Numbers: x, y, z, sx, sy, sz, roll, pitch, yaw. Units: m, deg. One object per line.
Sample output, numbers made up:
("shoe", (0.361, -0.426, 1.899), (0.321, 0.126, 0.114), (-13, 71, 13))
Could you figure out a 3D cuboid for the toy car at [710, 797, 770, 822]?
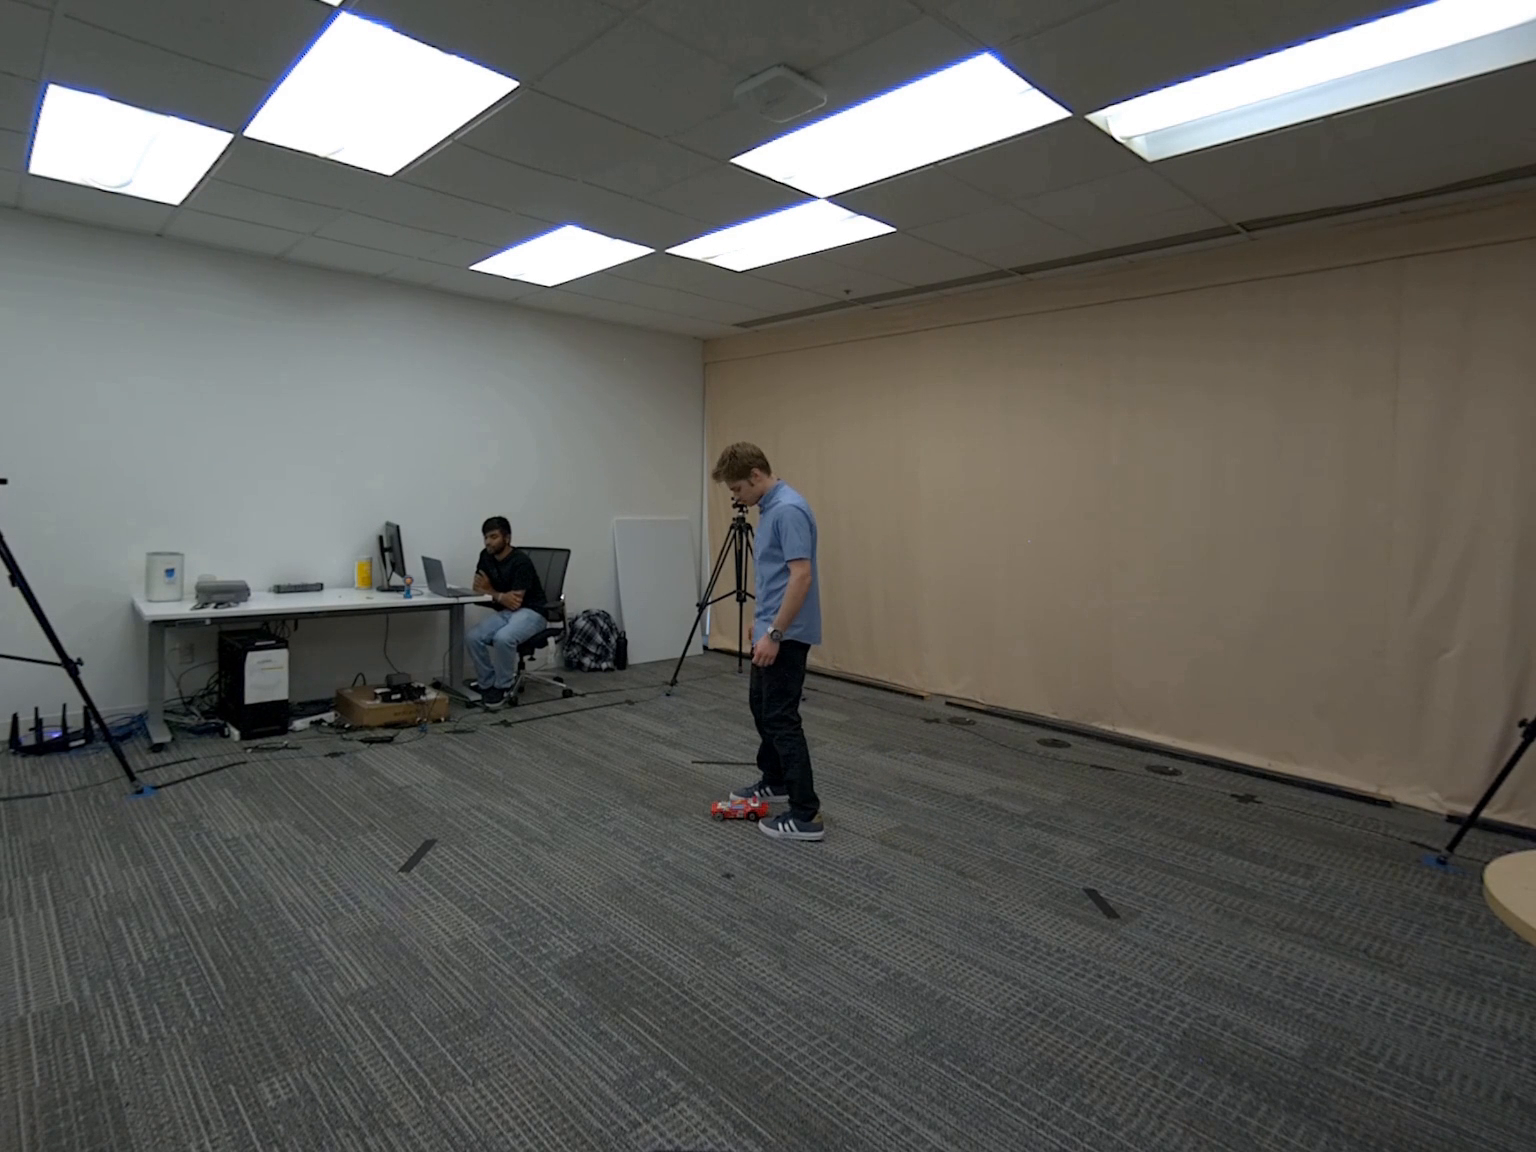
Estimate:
("toy car", (-0.131, 1.022, 3.690), (0.254, 0.083, 0.131), (-9, 5, 0))
